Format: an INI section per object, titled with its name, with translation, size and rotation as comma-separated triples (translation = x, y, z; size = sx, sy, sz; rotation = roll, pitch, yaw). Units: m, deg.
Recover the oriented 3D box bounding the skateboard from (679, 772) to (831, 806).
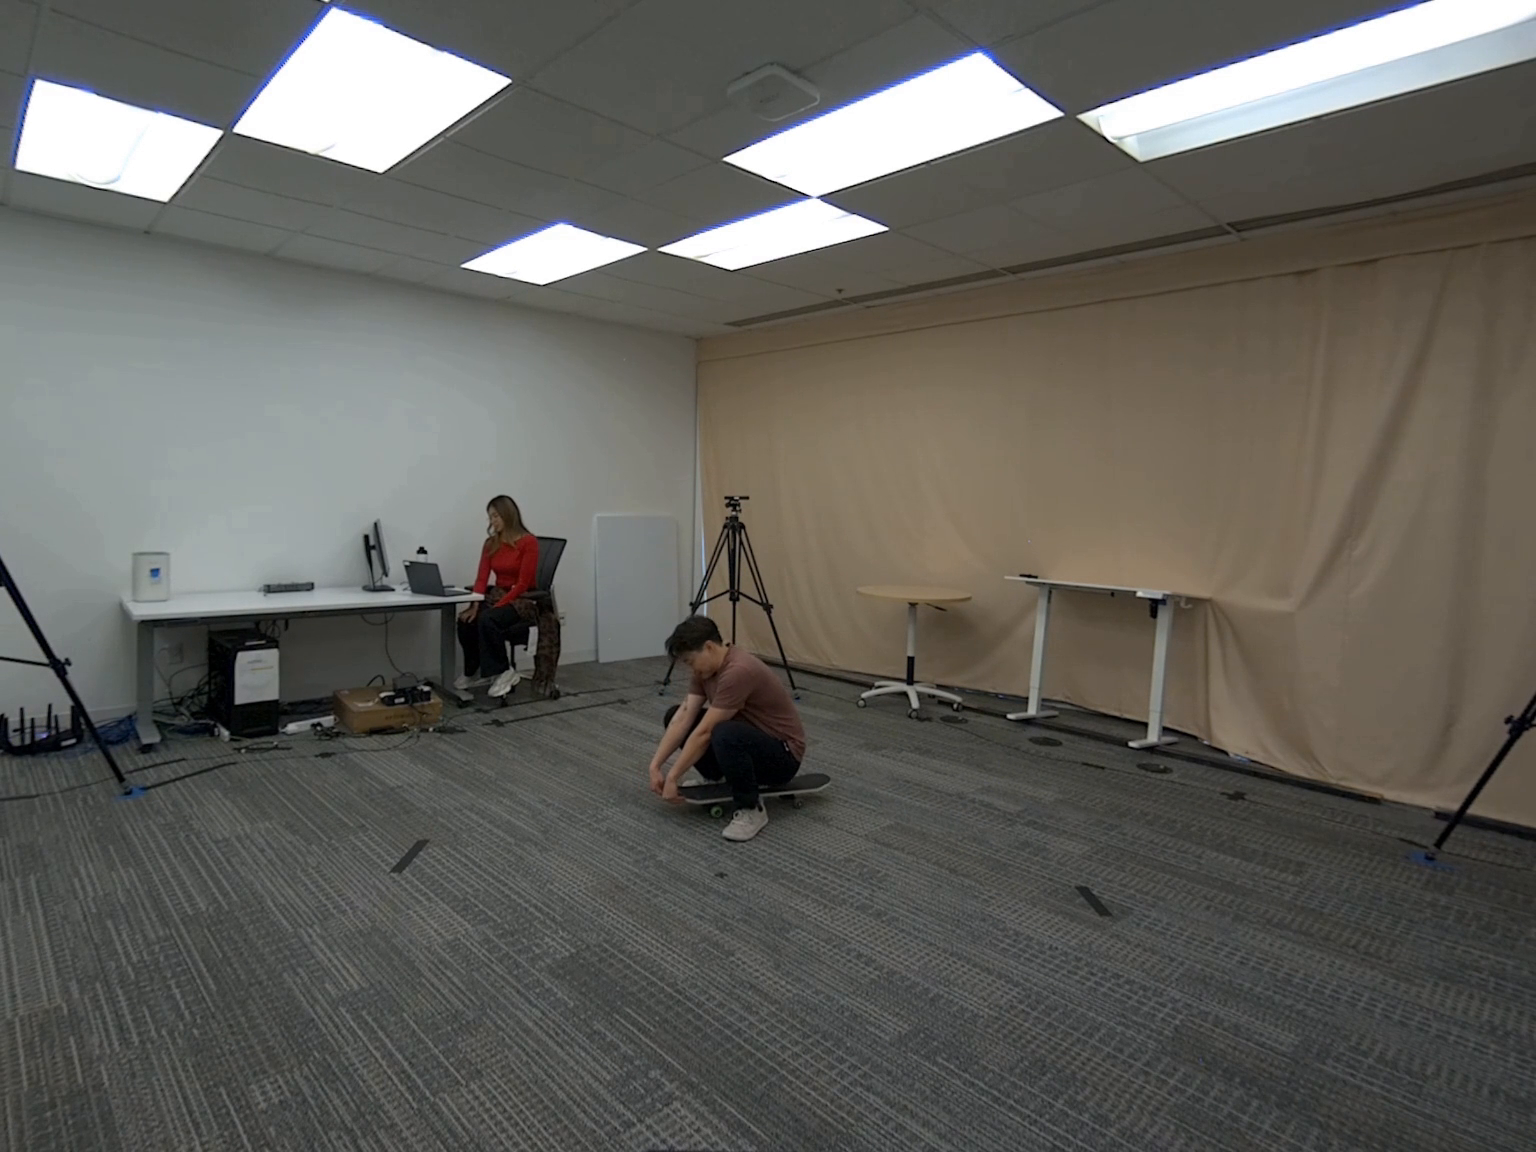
[skateboard]
translation = -0.092, 0.980, 3.813
size = 0.773, 0.110, 0.197
rotation = 0, 6, -21
